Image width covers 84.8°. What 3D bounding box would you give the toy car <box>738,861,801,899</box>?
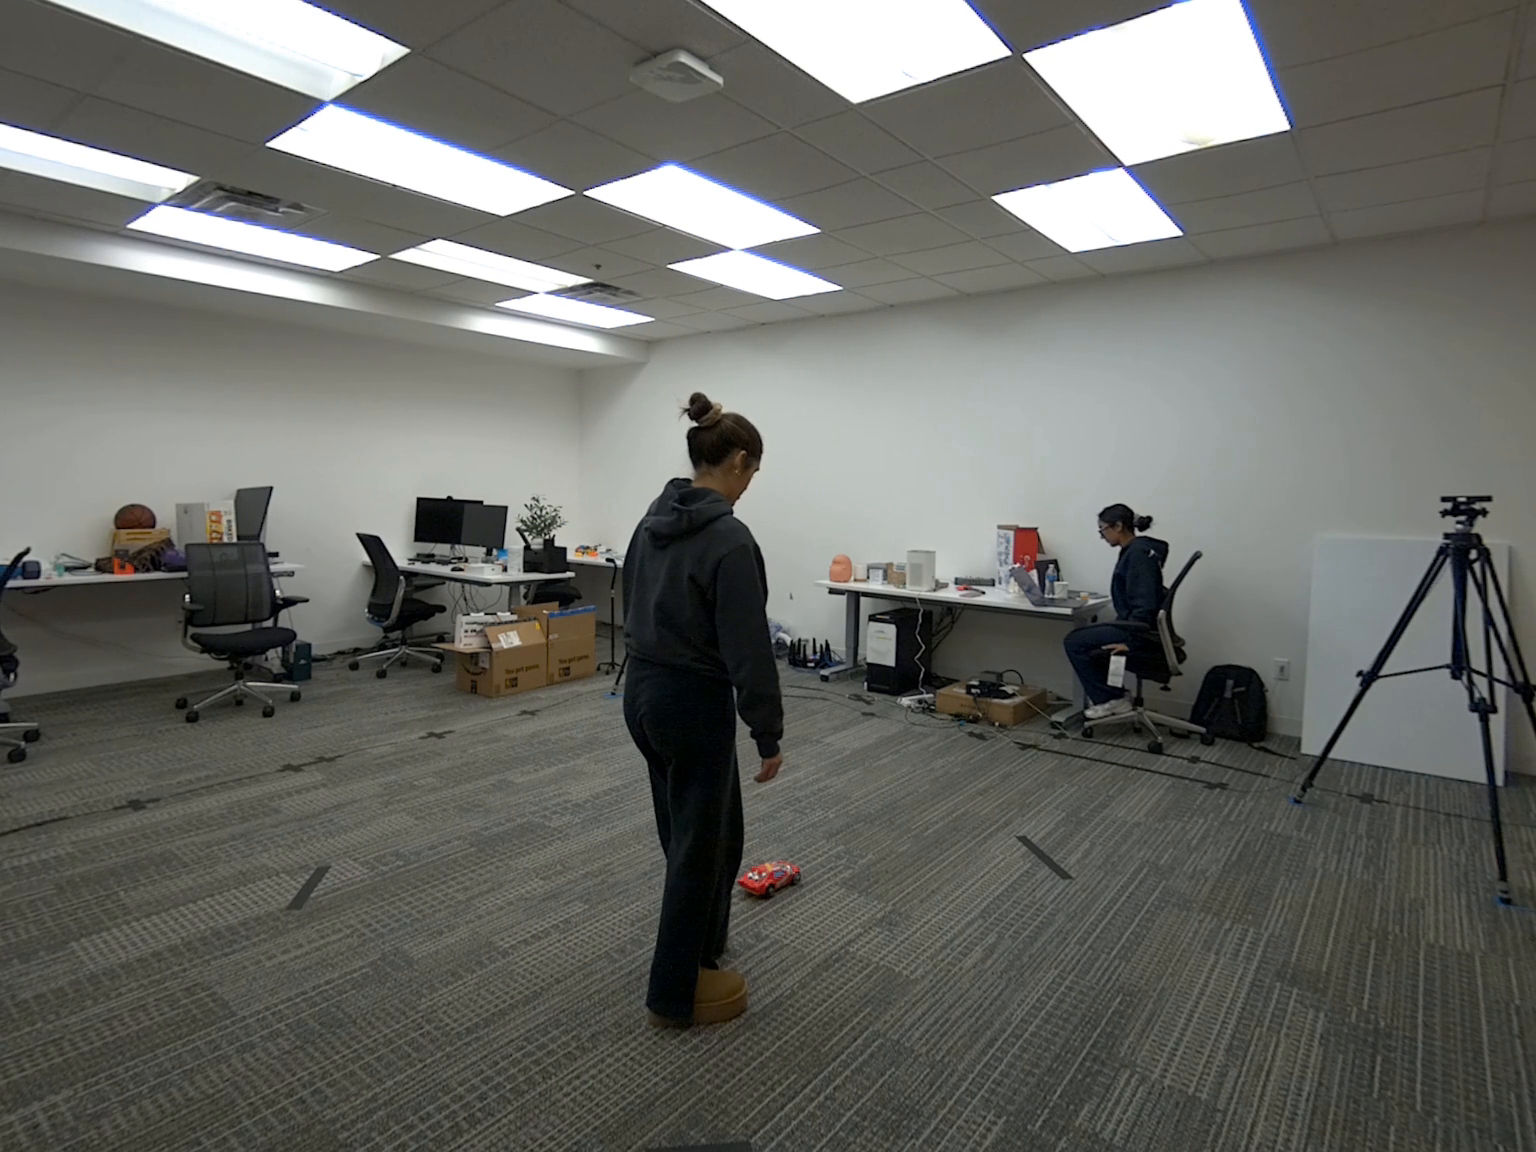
[{"bbox_3d":[0.005,1.054,2.966,0.135,0.083,0.245,6,-4,43],"label":"toy car"}]
